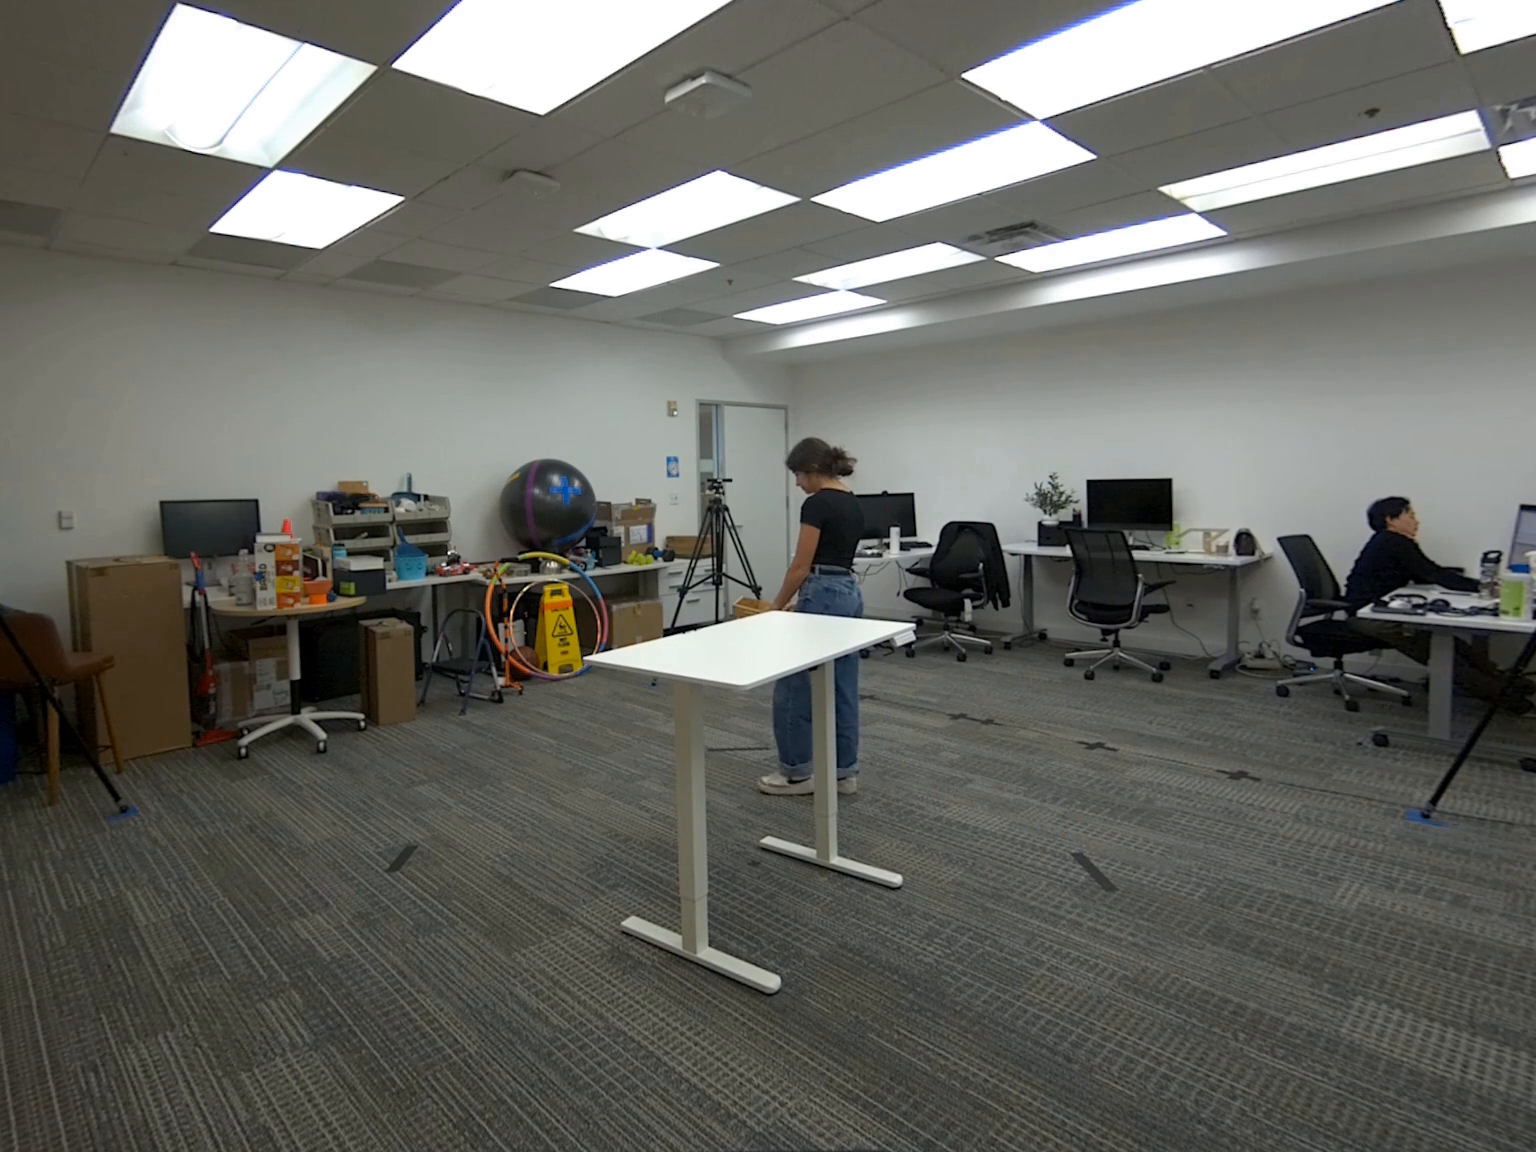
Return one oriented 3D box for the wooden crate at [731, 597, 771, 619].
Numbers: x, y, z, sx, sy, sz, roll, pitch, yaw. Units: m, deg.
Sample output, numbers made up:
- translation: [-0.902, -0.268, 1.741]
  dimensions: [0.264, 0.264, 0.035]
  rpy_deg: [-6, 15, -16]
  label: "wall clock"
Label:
- translation: [-0.025, 0.247, 3.885]
  dimensions: [0.335, 0.274, 0.292]
  rpy_deg: [13, -2, 35]
  label: "wooden crate"
